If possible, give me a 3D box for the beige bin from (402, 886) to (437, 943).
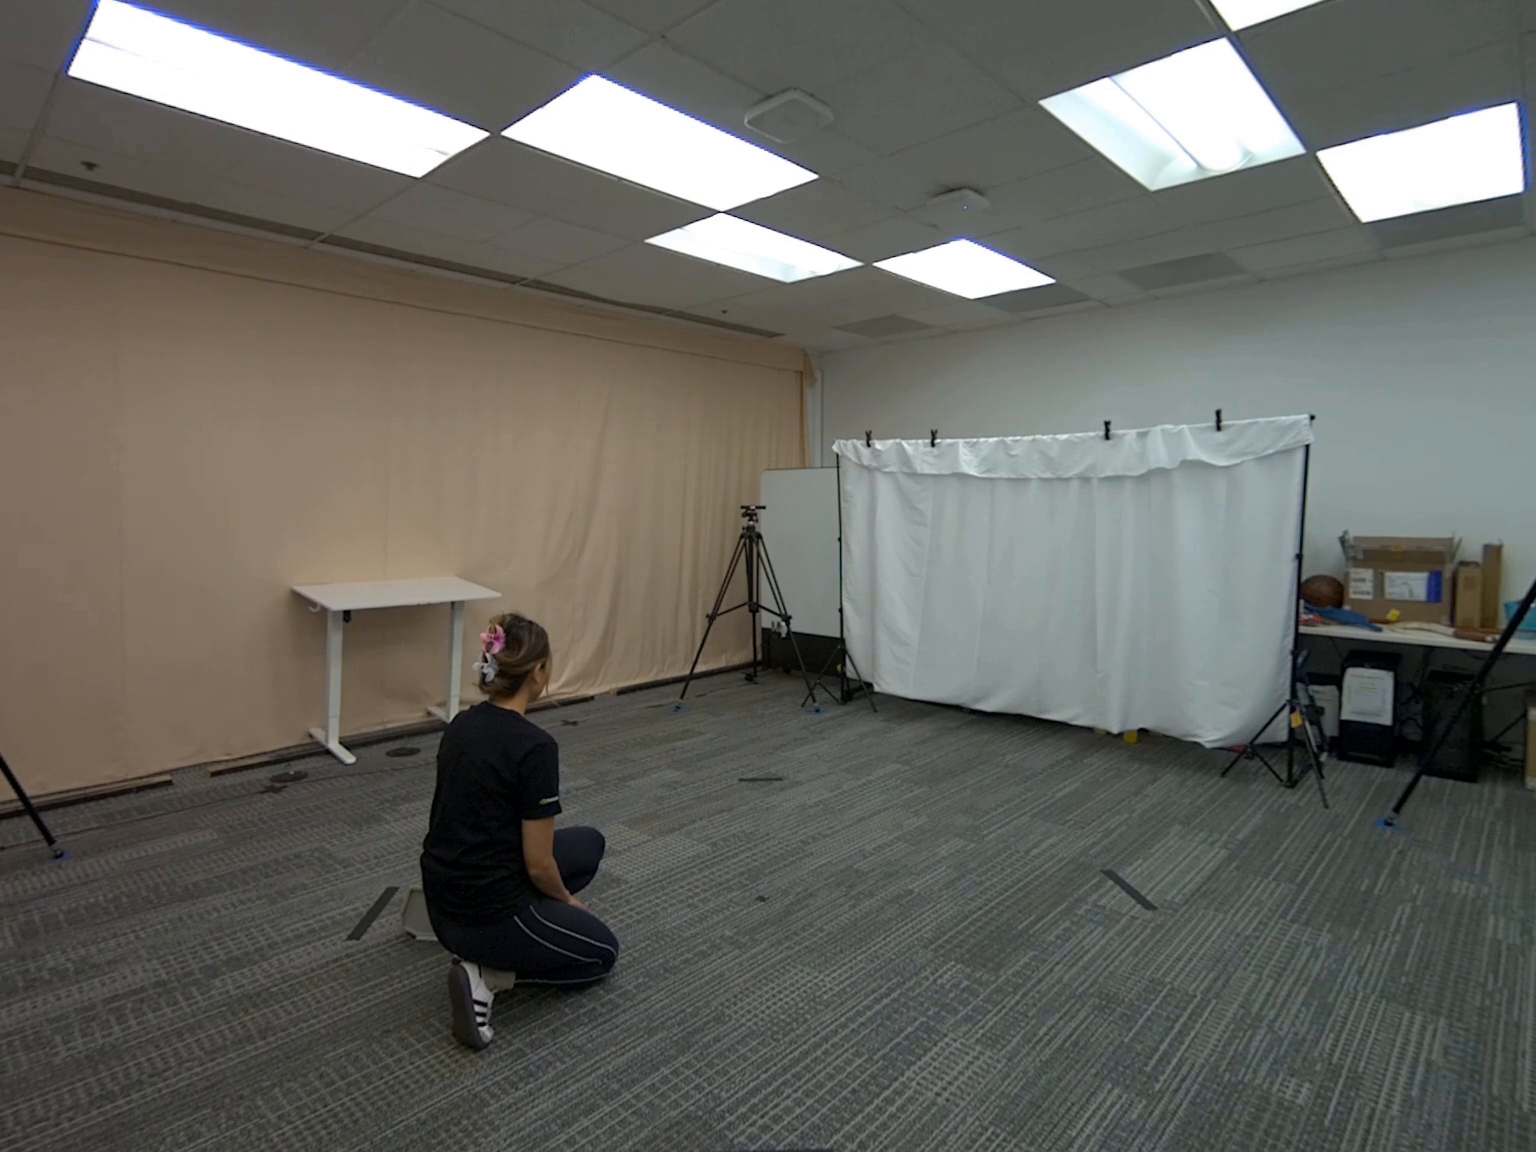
[{"bbox_3d":[-1.001,1.073,2.900,0.379,0.188,0.421,1,4,3],"label":"beige bin"}]
